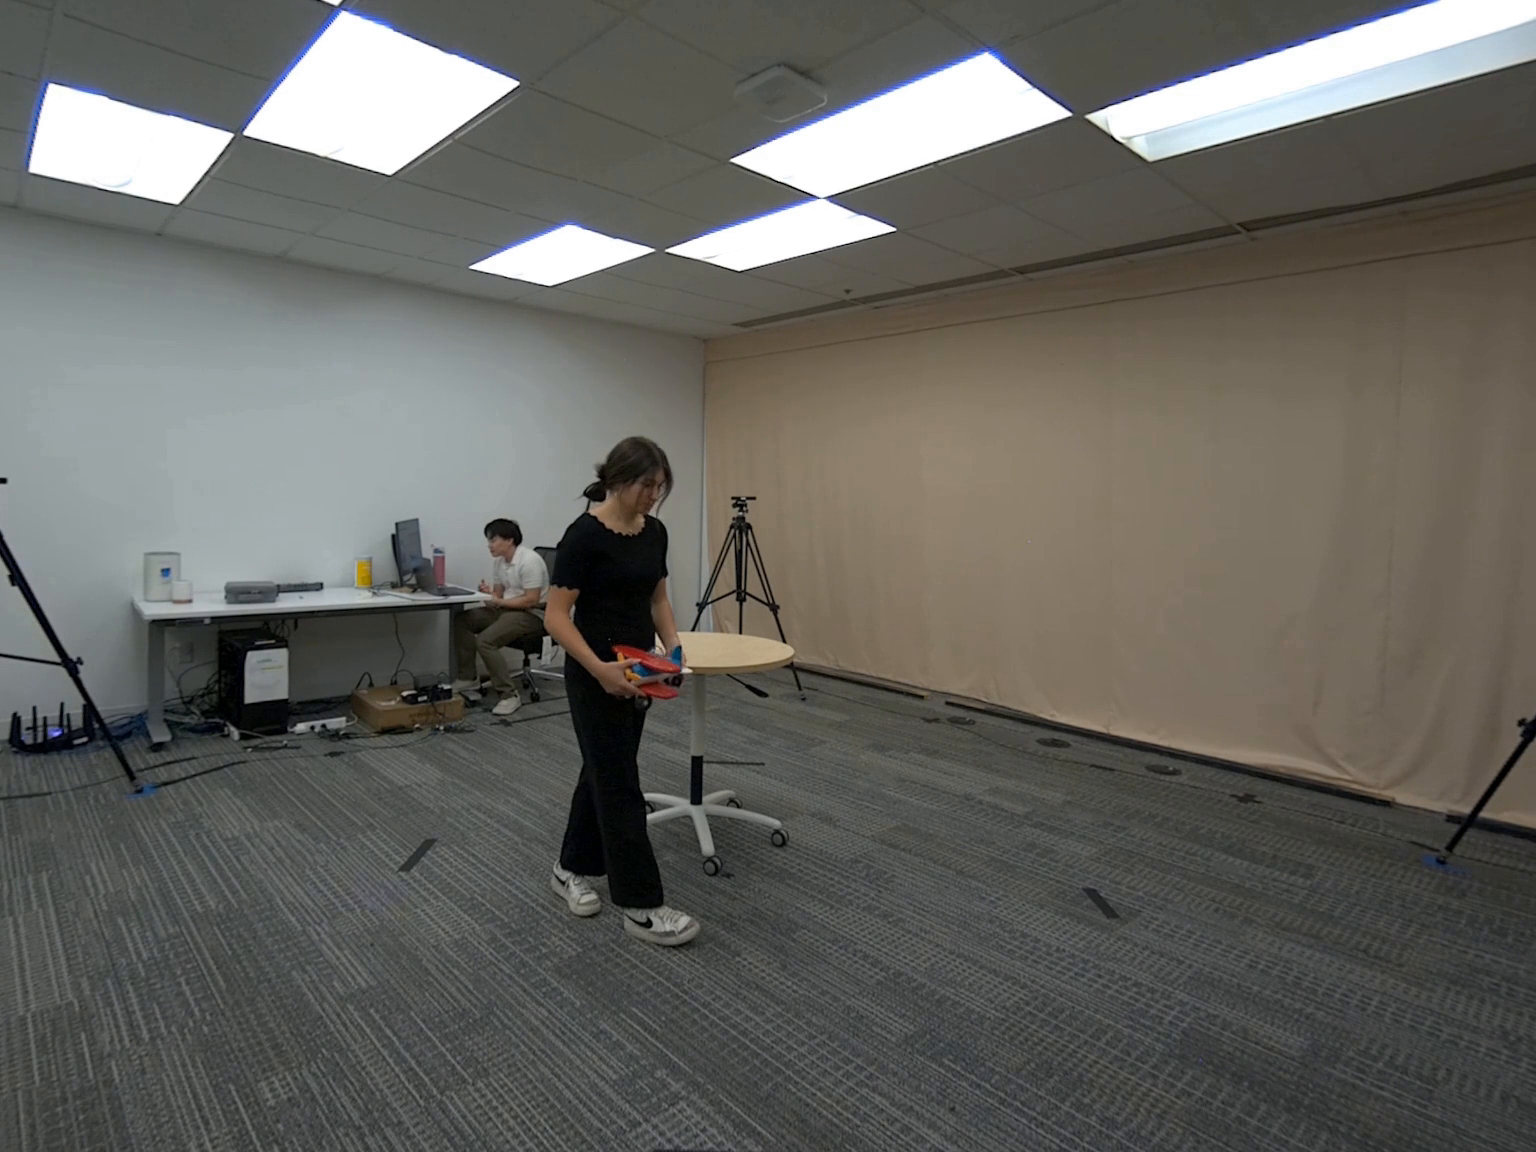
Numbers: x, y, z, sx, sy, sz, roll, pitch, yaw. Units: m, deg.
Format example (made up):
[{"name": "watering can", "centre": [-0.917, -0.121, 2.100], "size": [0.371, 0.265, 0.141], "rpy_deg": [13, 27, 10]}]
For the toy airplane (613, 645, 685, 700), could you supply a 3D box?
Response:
[{"name": "toy airplane", "centre": [-0.390, 0.294, 2.600], "size": [0.253, 0.154, 0.261], "rpy_deg": [4, 20, 8]}]
